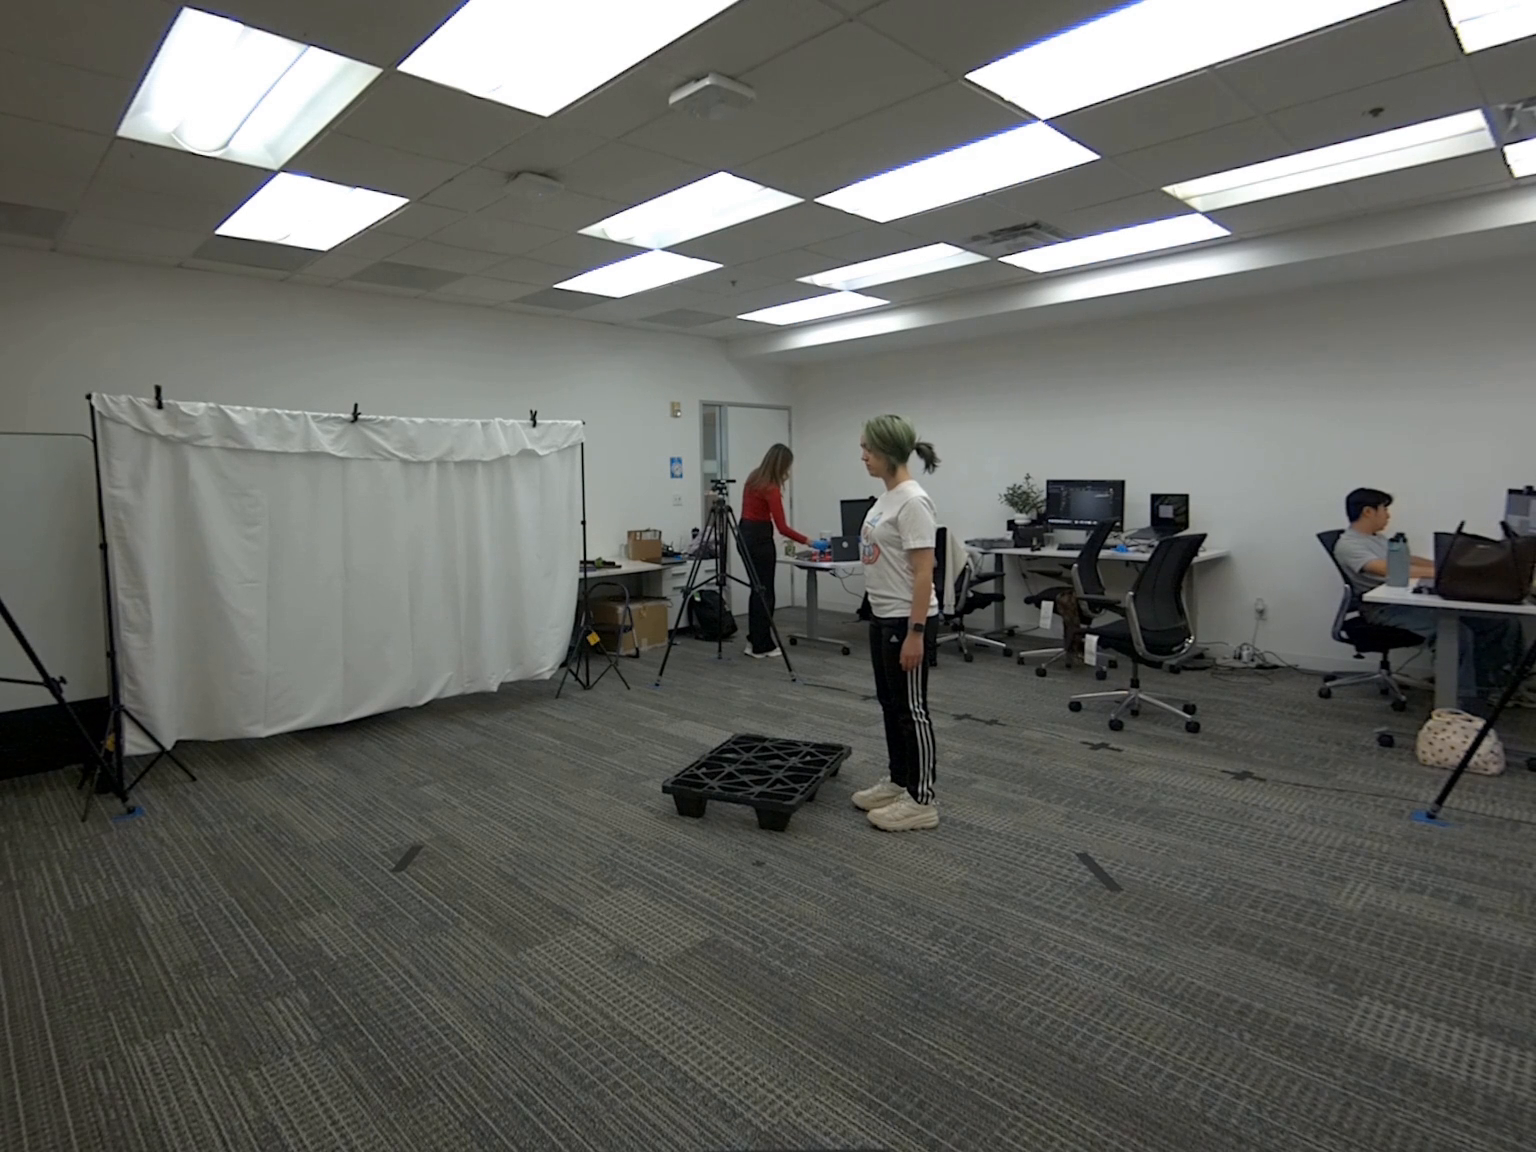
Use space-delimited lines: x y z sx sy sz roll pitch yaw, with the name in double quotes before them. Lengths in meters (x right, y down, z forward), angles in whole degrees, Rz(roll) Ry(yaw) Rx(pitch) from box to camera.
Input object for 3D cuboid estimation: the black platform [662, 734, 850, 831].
"black platform" -0.025 0.899 3.803 0.618 0.143 0.792 0 6 23
